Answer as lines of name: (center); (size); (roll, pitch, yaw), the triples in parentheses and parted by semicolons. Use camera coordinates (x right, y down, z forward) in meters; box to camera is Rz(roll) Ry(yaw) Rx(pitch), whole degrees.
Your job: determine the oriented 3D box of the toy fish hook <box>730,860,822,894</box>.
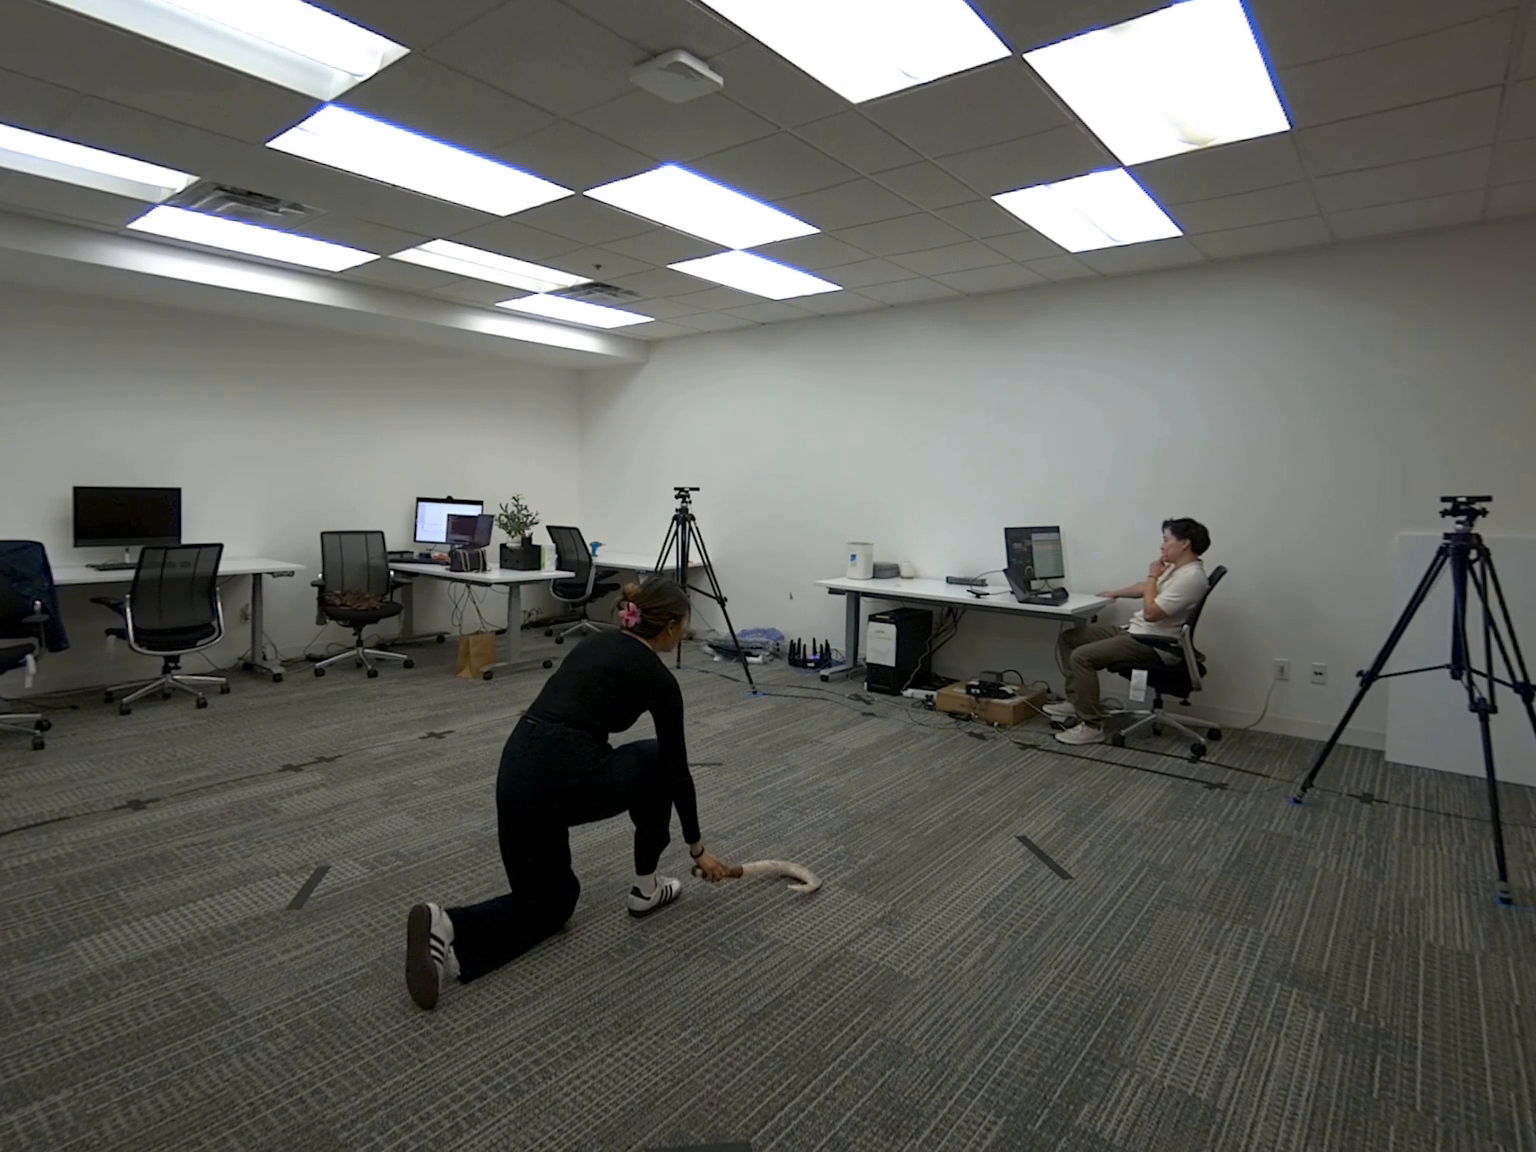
toy fish hook: (-0.034, 1.019, 2.895); (0.489, 0.048, 0.232); (13, -3, -36)
